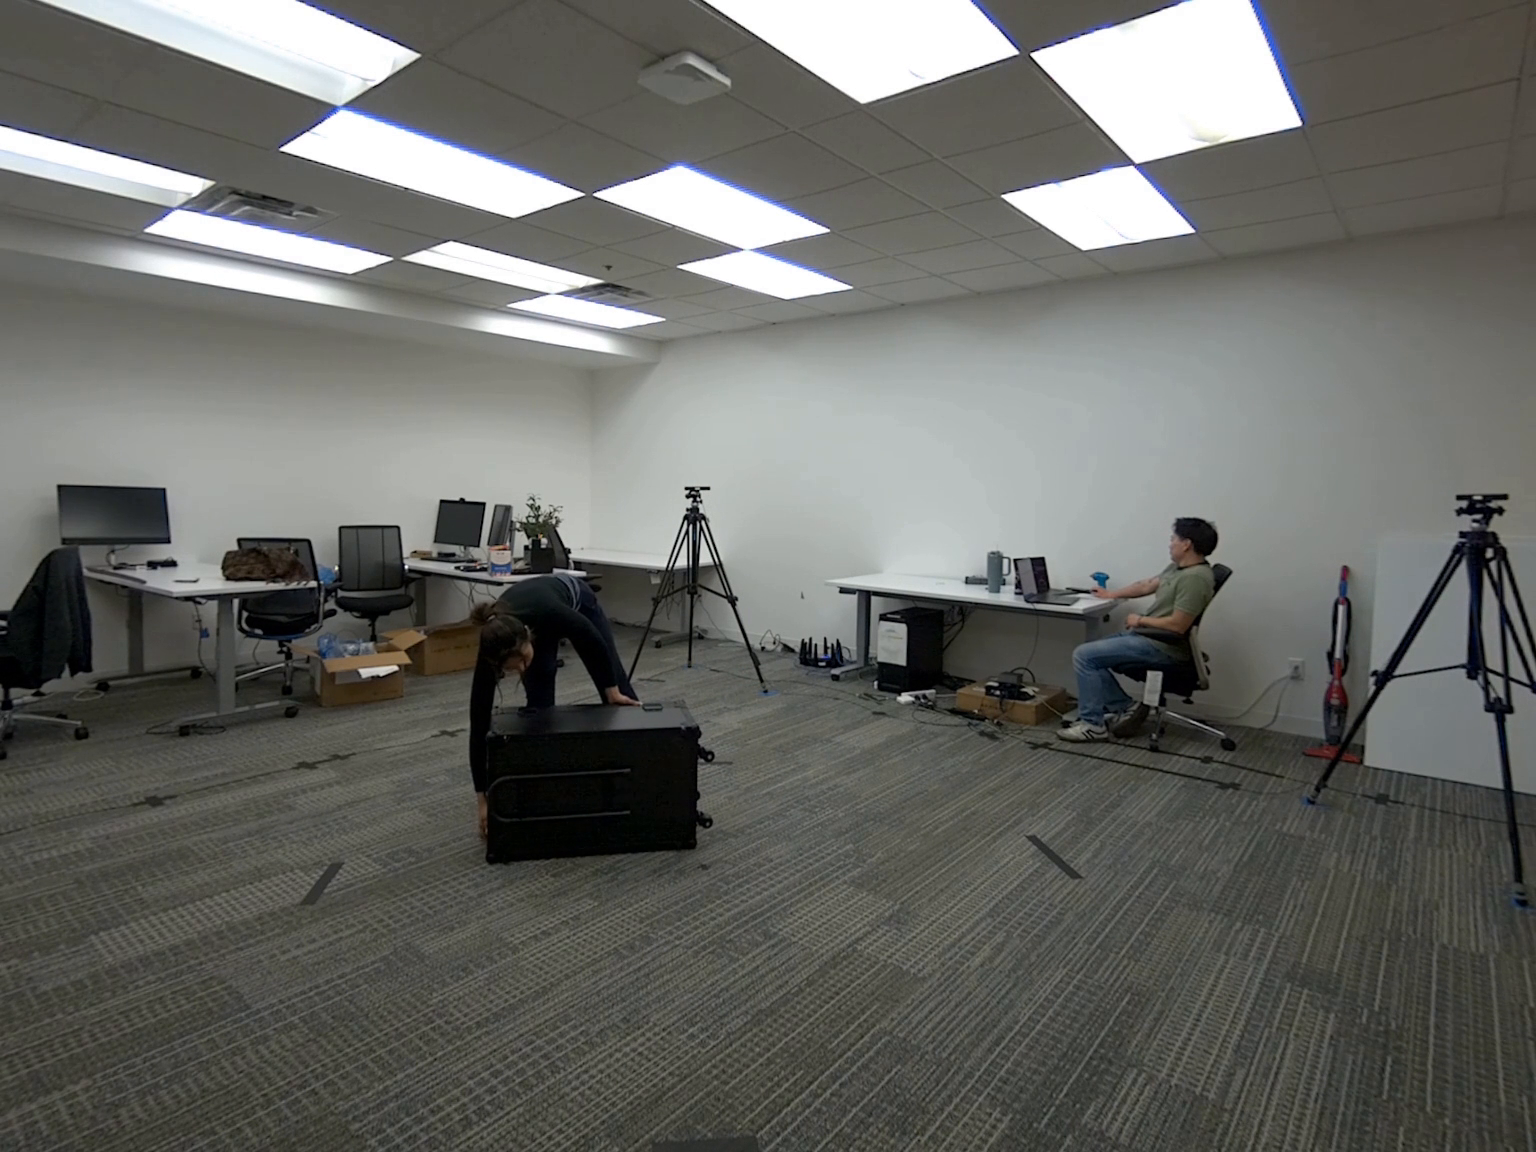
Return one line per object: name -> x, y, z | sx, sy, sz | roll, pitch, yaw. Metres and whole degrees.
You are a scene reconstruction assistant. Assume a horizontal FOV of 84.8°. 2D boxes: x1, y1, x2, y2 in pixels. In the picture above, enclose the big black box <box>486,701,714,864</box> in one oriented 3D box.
big black box -> -0.664, 0.781, 3.334 | 0.849, 0.518, 0.404 | -1, 7, -14
